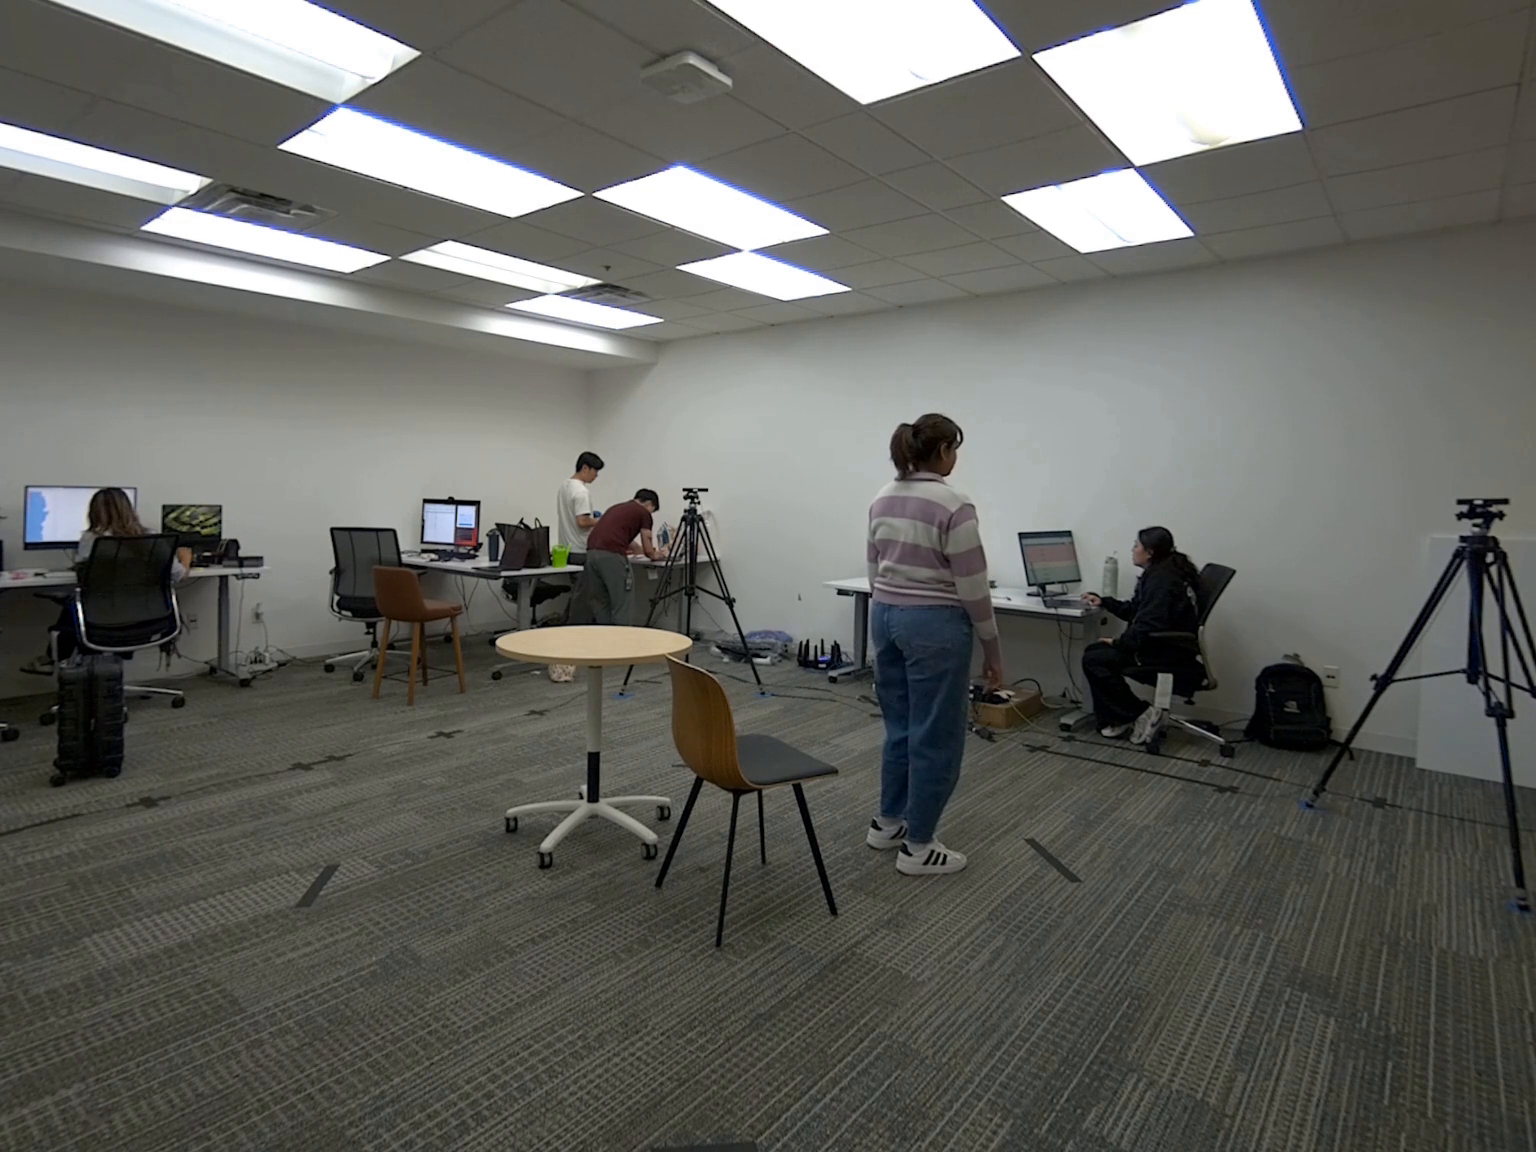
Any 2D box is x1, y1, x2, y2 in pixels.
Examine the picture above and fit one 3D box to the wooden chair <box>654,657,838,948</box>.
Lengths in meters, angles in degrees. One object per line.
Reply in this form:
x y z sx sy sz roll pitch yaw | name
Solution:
-0.076 0.671 2.849 0.510 0.873 0.493 -5 6 -31 | wooden chair
